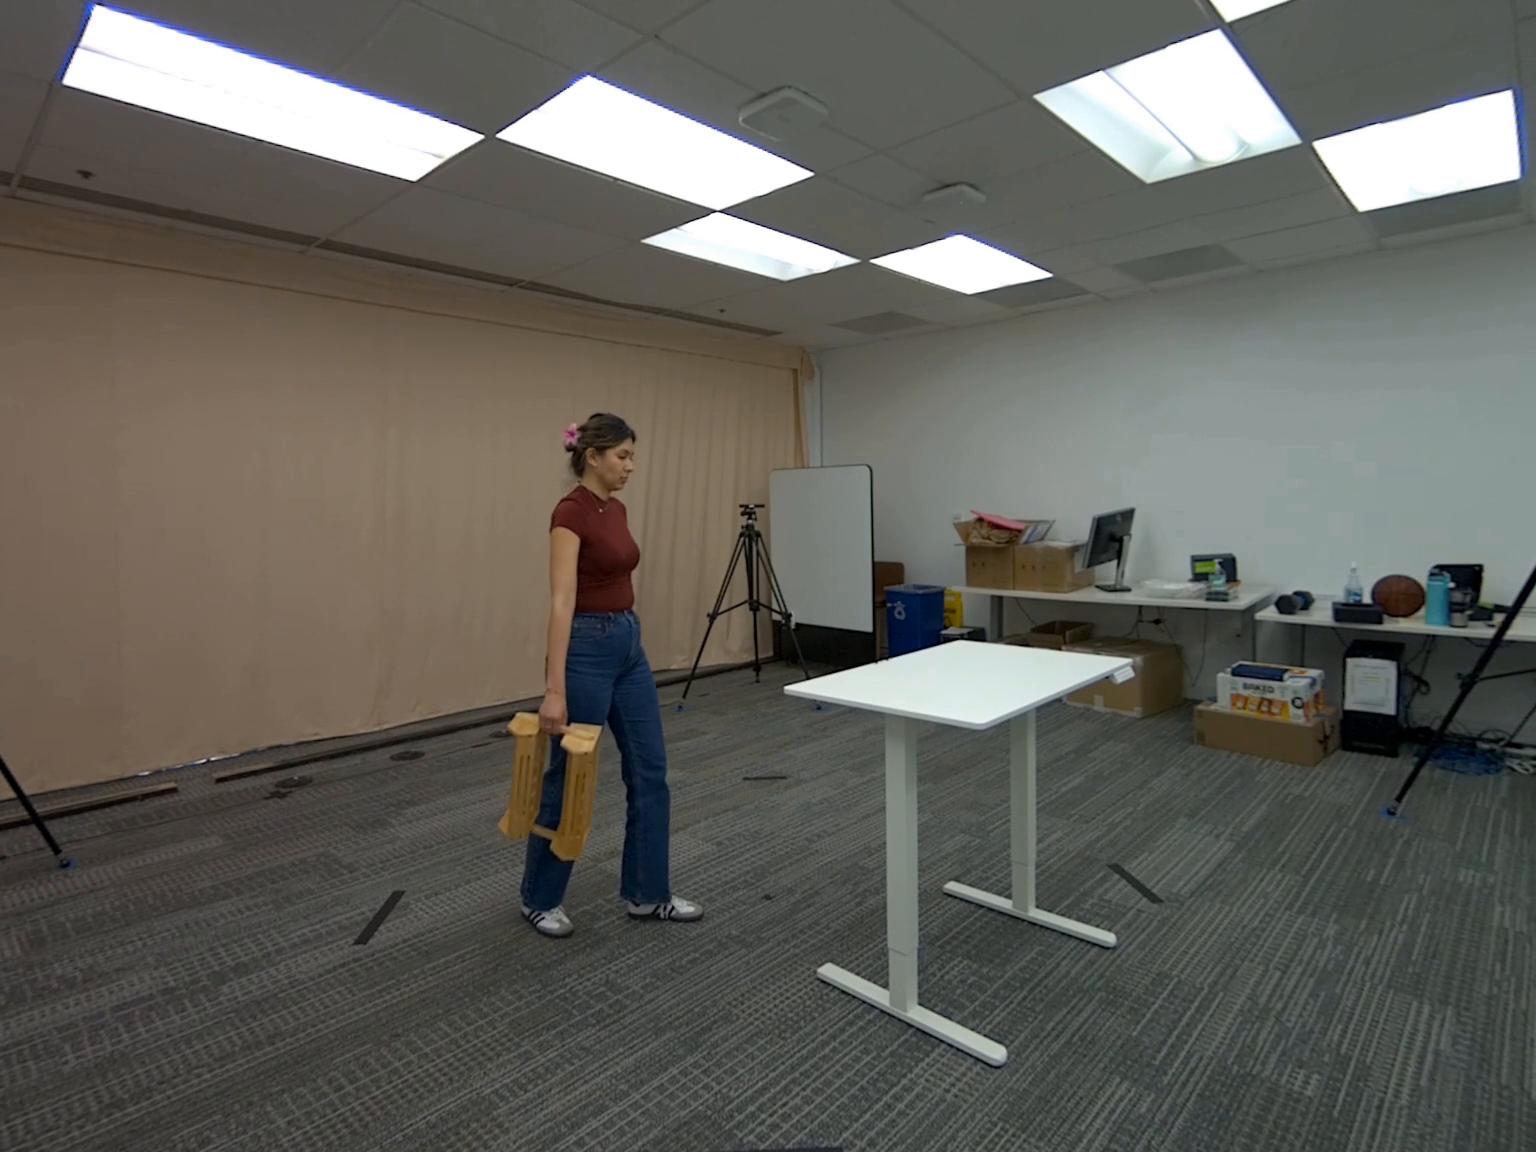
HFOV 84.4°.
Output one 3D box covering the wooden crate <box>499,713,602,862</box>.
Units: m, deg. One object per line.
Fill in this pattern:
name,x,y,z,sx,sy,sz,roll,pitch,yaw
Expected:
wooden crate,-0.628,0.582,2.400,0.273,0.324,0.303,7,4,-2
